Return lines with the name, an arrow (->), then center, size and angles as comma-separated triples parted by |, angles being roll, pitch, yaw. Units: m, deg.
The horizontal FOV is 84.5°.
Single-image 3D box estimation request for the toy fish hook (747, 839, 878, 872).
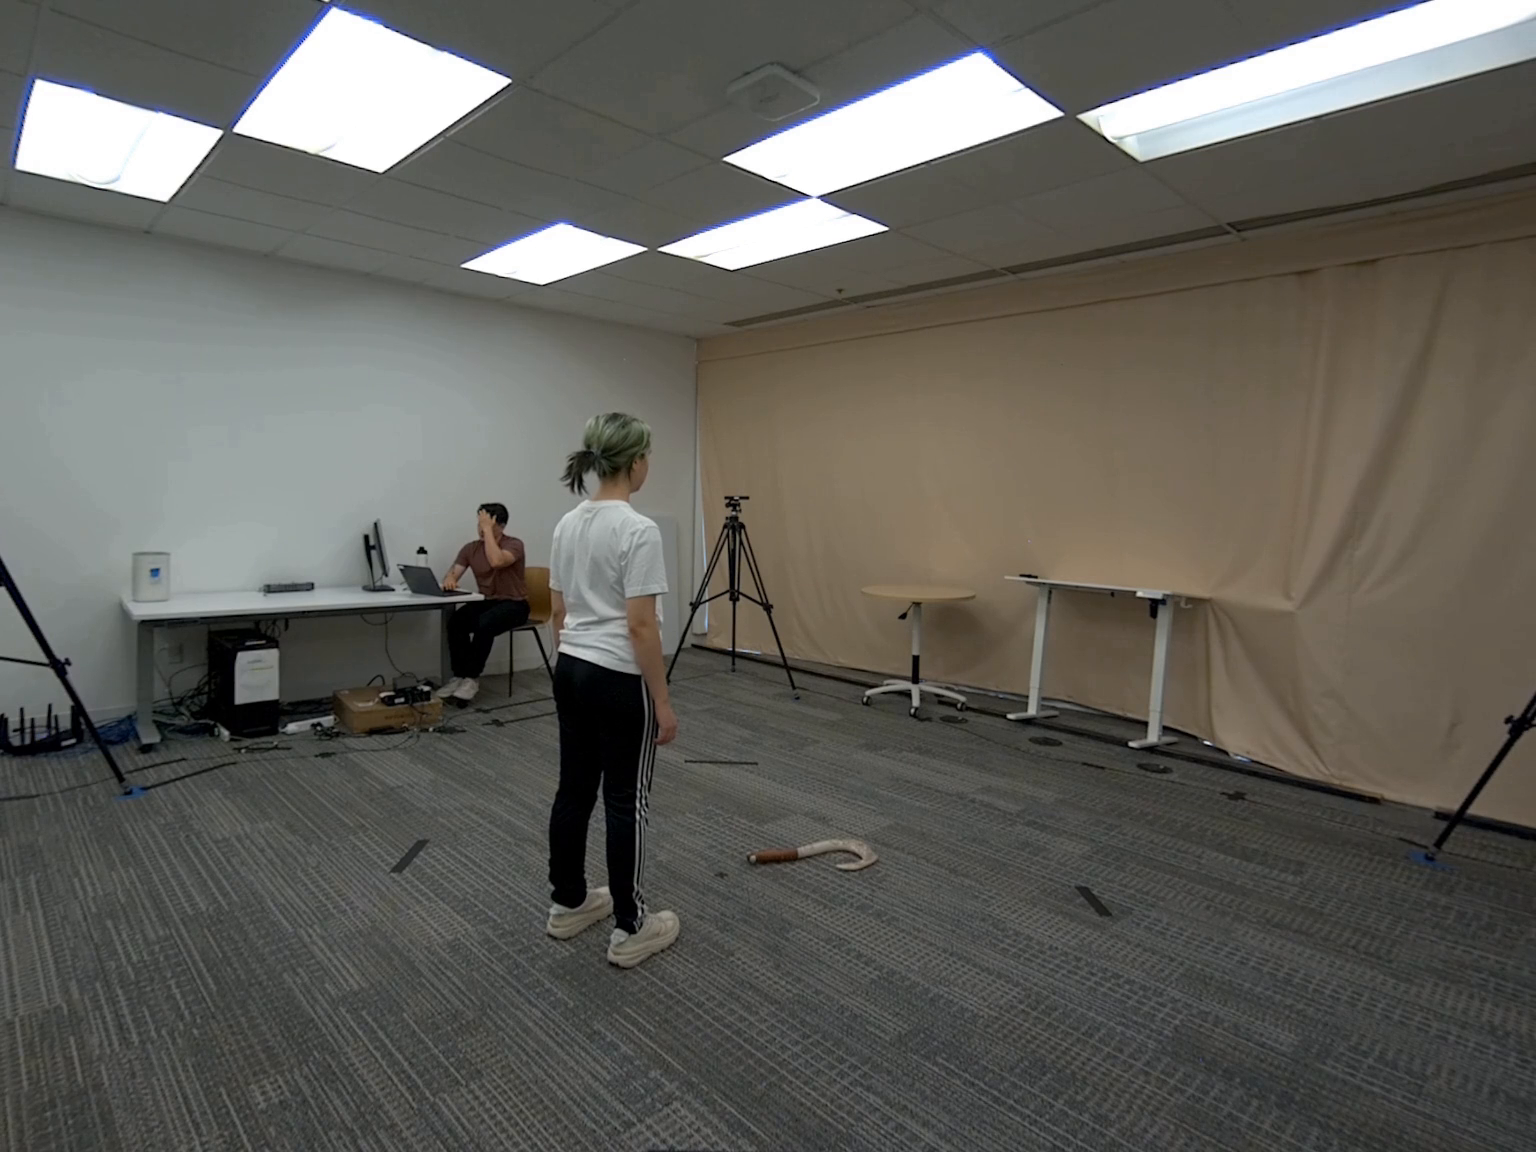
toy fish hook -> 0.169, 1.076, 3.223 | 0.499, 0.048, 0.228 | -1, 5, -19
